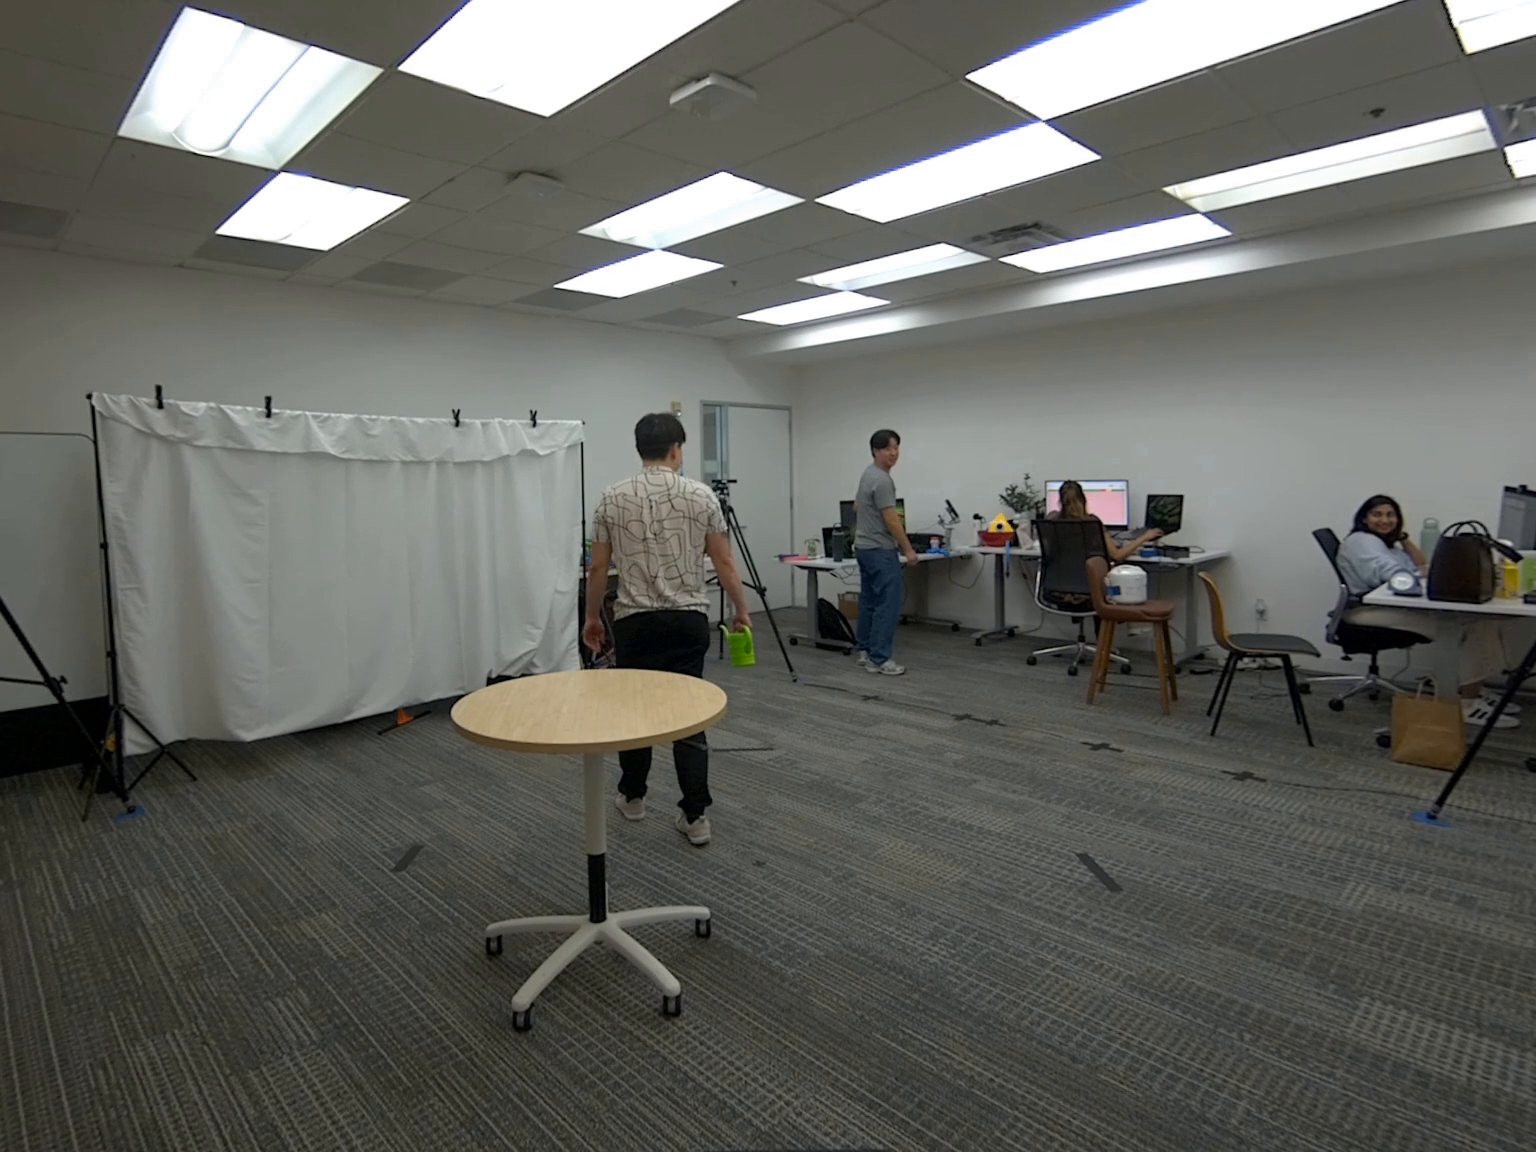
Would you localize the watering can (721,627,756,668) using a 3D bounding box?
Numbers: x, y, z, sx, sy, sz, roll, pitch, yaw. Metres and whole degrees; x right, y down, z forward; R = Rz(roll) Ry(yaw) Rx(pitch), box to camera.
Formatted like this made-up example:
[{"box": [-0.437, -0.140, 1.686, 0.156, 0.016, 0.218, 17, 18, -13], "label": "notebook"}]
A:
[{"box": [-0.134, 0.286, 3.613, 0.097, 0.177, 0.280, -3, -2, -14], "label": "watering can"}]
